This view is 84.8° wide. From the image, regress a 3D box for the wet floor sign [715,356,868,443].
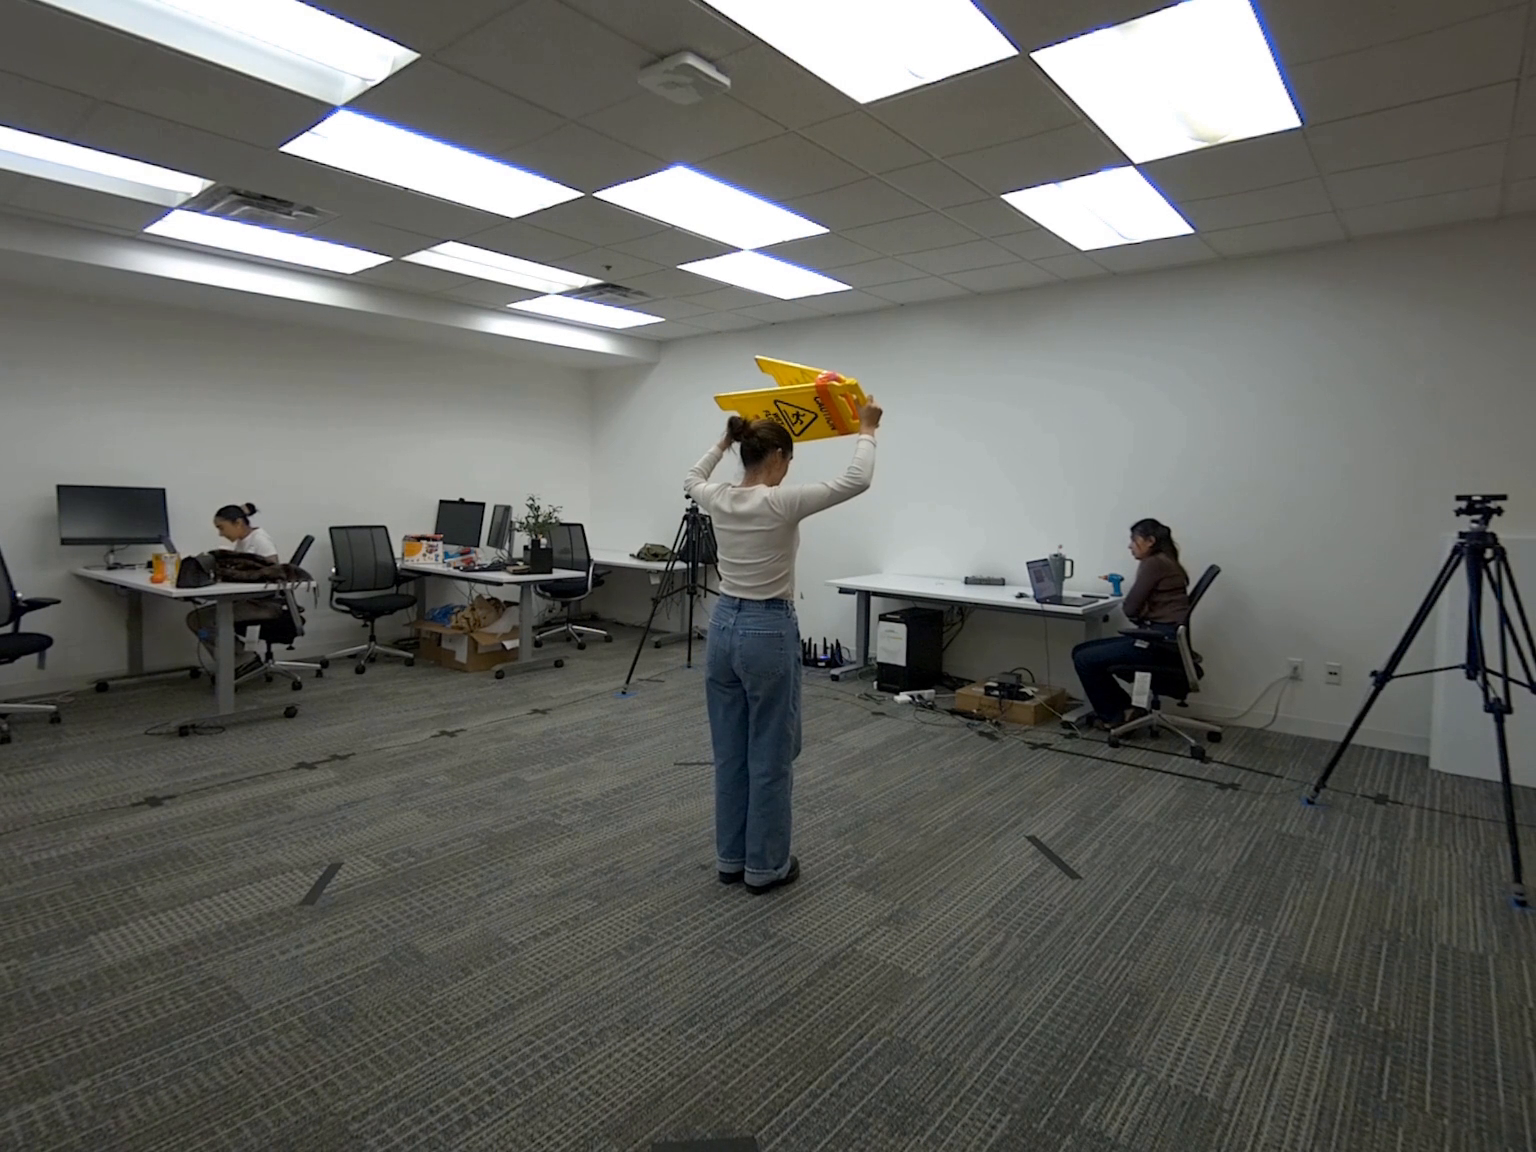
[{"bbox_3d":[0.133,-0.639,3.140,0.289,0.272,0.670,-47,35,-21],"label":"wet floor sign"}]
